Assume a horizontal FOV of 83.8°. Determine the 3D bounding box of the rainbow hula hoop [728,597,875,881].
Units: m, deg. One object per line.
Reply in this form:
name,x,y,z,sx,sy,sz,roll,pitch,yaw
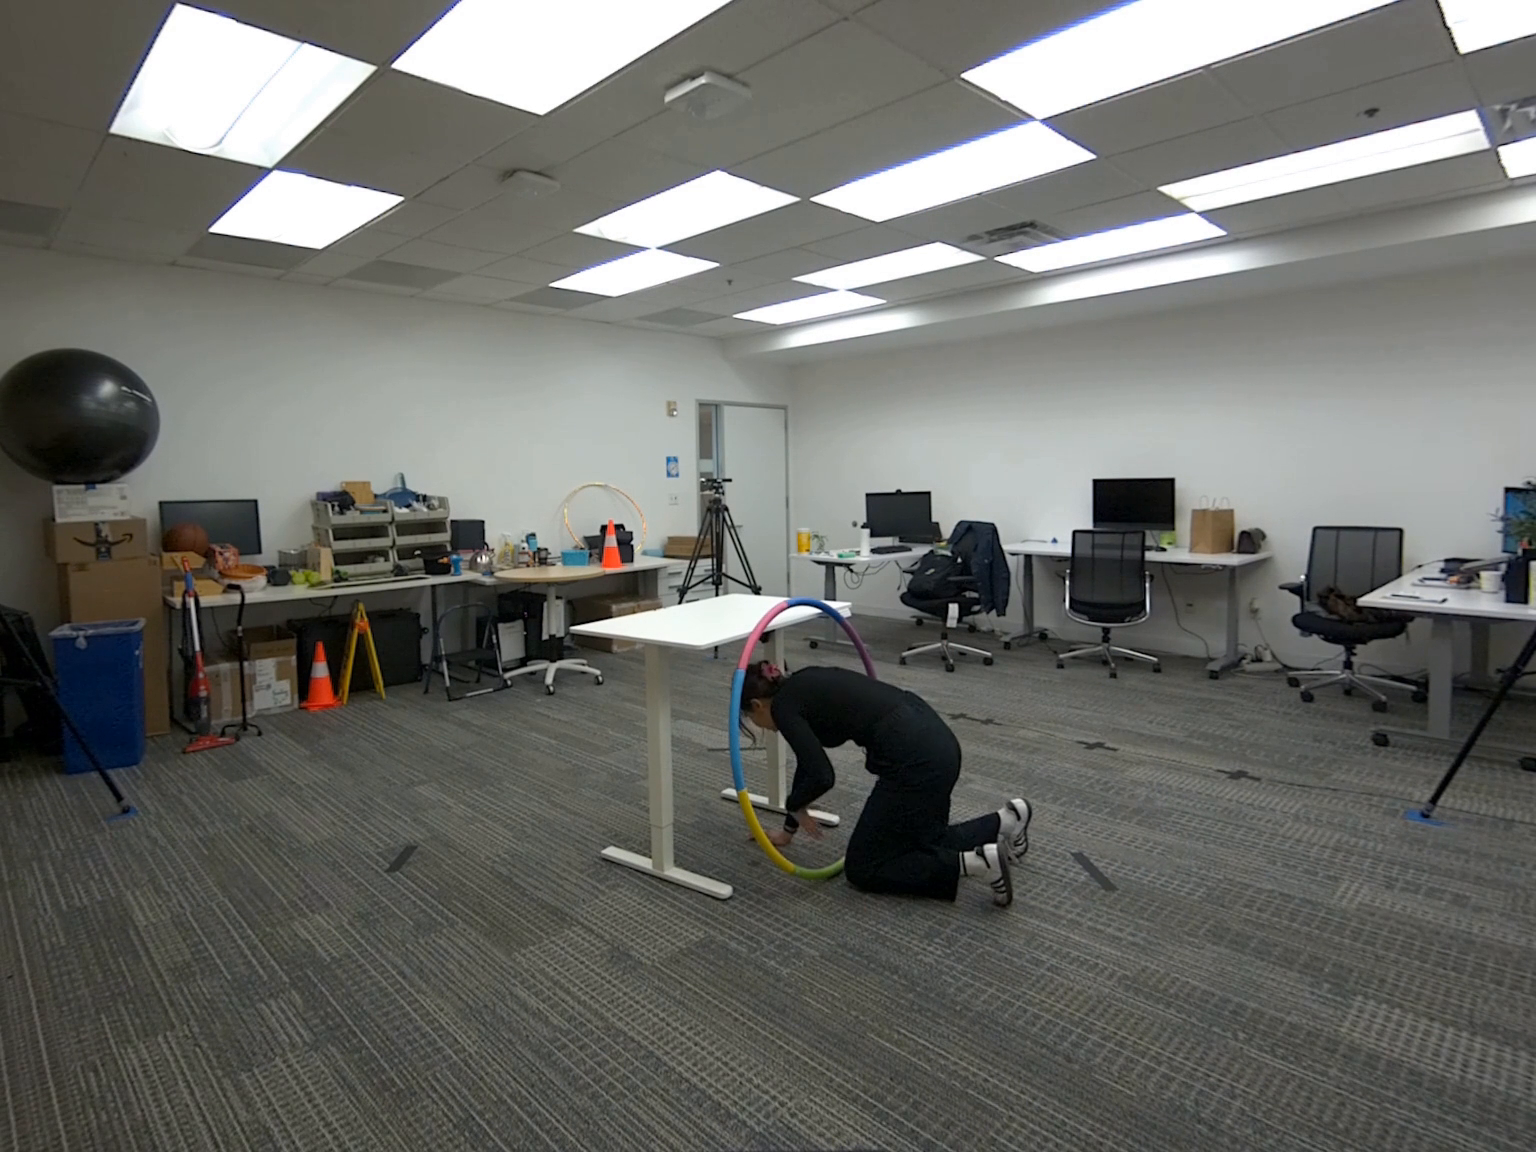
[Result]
rainbow hula hoop,0.172,0.559,3.067,0.036,0.983,0.954,-14,-4,36
